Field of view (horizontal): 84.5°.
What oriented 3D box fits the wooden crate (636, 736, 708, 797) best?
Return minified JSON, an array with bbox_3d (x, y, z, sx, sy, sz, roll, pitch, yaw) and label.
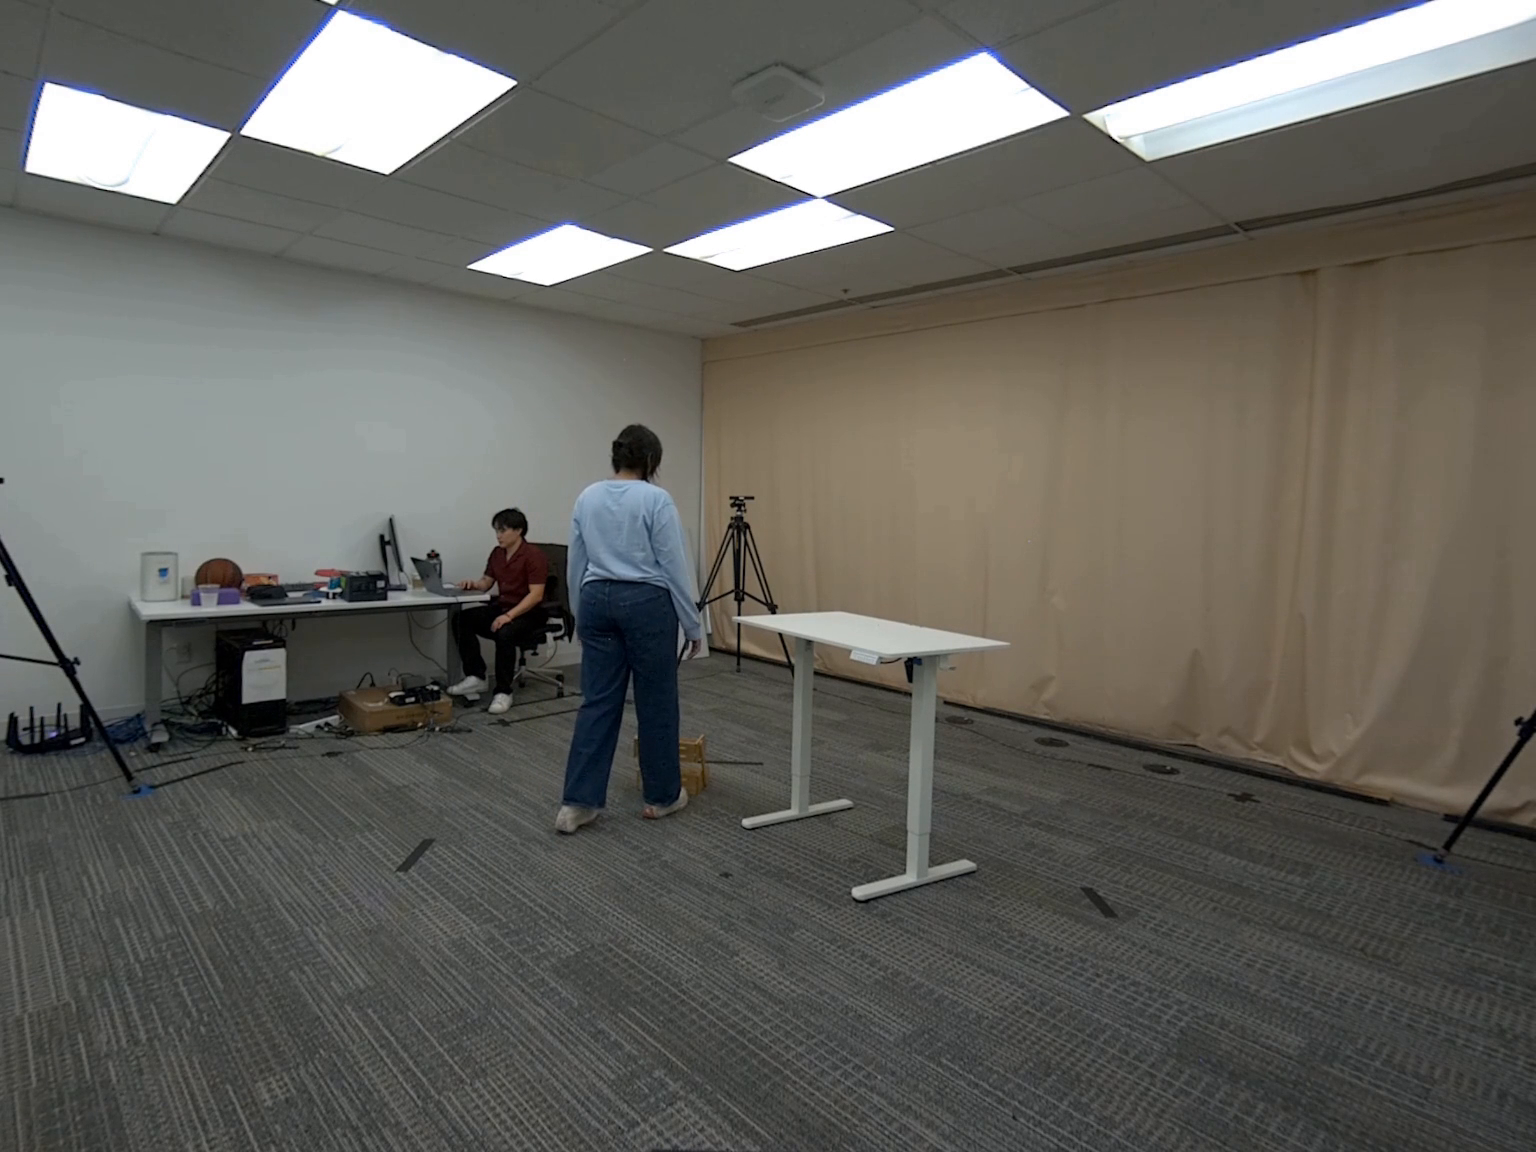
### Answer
[{"bbox_3d":[-0.470,0.883,4.082,0.327,0.272,0.300,2,5,10],"label":"wooden crate"}]
